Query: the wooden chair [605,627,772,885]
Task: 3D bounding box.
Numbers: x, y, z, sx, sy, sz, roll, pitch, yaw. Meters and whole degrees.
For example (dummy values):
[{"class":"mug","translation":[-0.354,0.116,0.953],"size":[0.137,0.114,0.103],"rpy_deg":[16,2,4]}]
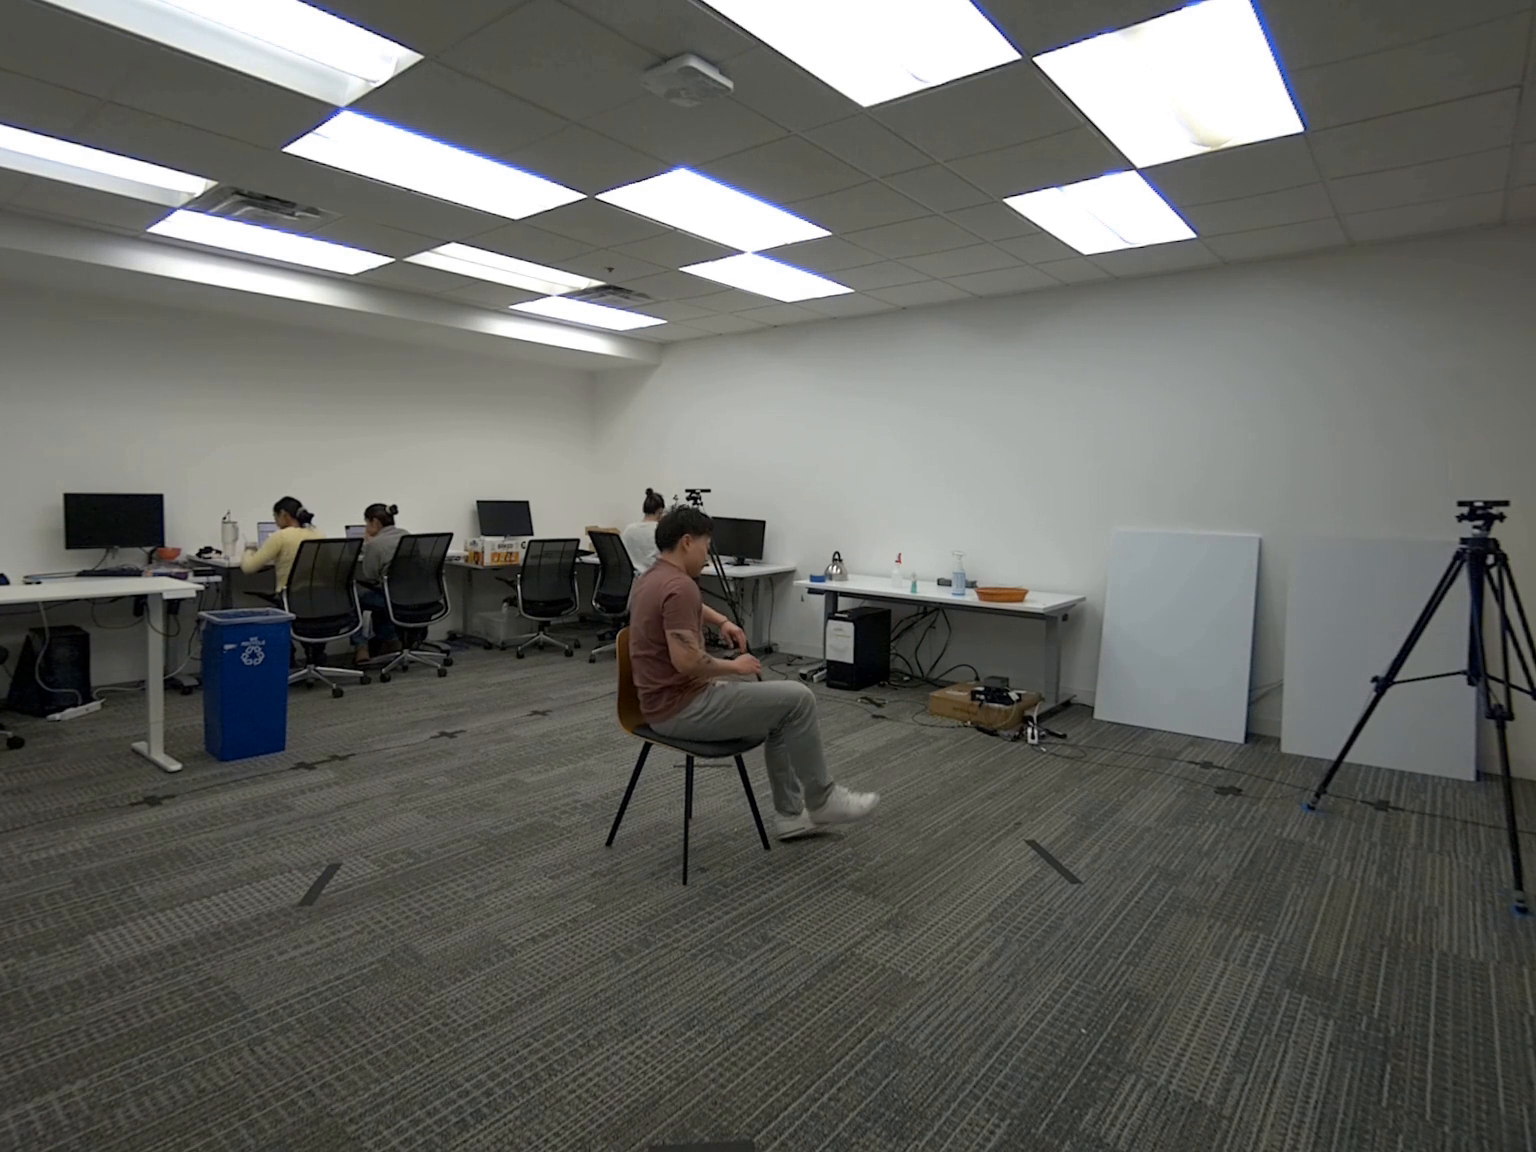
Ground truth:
[{"class":"wooden chair","translation":[-0.308,0.628,3.271],"size":[0.539,0.878,0.463],"rpy_deg":[-2,0,44]}]
